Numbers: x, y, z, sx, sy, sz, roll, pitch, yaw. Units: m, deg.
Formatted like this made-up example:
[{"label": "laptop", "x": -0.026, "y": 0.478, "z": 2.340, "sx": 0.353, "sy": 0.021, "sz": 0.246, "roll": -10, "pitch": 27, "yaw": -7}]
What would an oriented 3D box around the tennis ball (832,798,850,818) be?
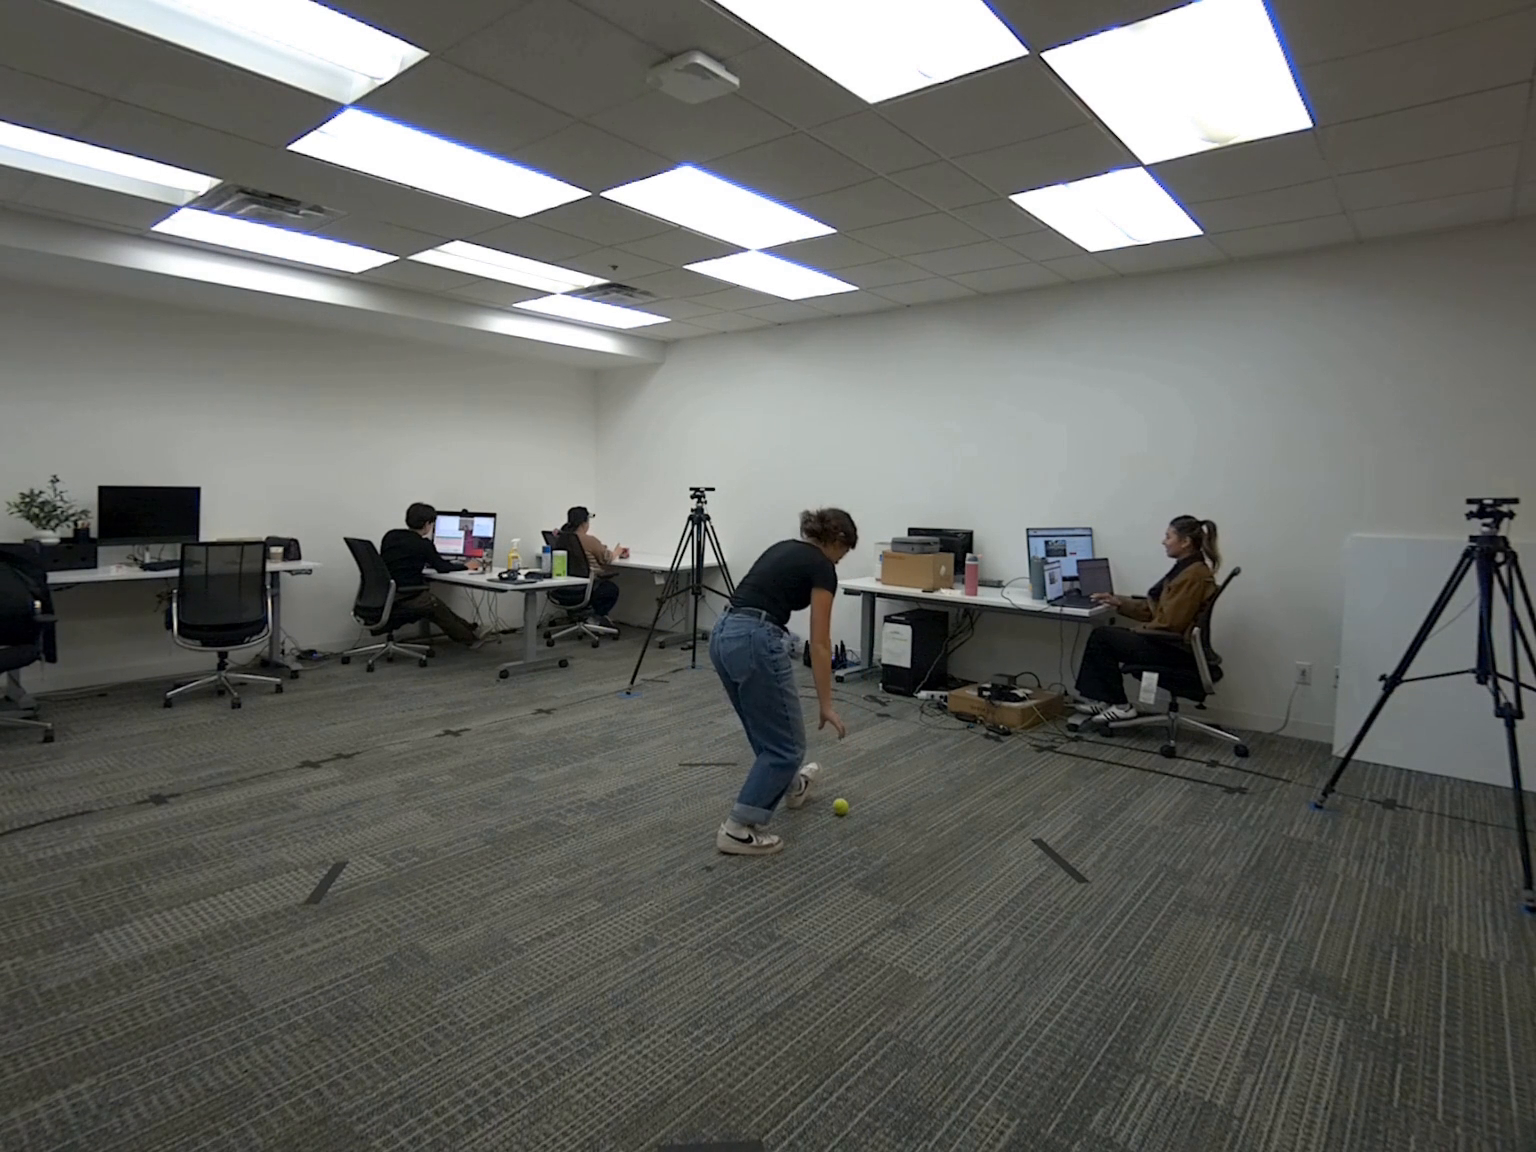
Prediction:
[{"label": "tennis ball", "x": 0.306, "y": 0.985, "z": 3.655, "sx": 0.066, "sy": 0.066, "sz": 0.067, "roll": 1, "pitch": 4, "yaw": -2}]
